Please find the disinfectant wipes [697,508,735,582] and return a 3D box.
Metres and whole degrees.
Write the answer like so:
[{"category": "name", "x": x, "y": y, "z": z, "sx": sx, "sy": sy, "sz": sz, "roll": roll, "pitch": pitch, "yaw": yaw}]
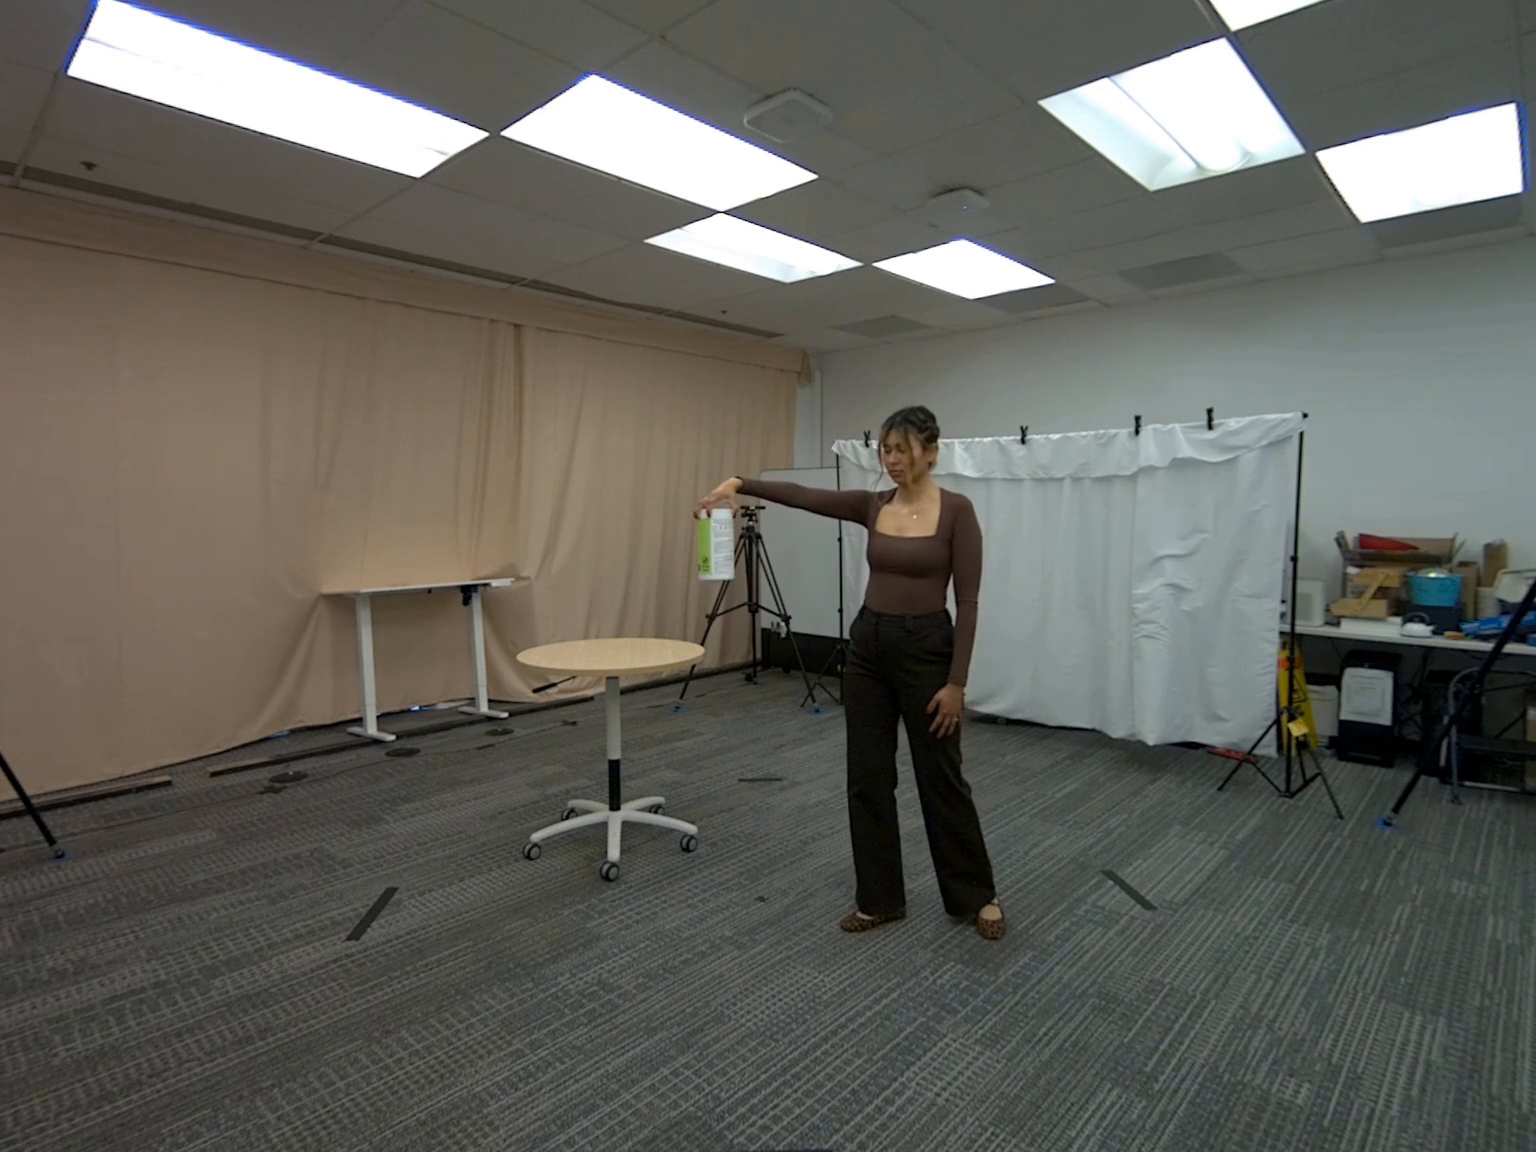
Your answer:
[{"category": "disinfectant wipes", "x": -0.150, "y": -0.093, "z": 2.552, "sx": 0.118, "sy": 0.217, "sz": 0.118, "roll": 1, "pitch": 0, "yaw": -2}]
